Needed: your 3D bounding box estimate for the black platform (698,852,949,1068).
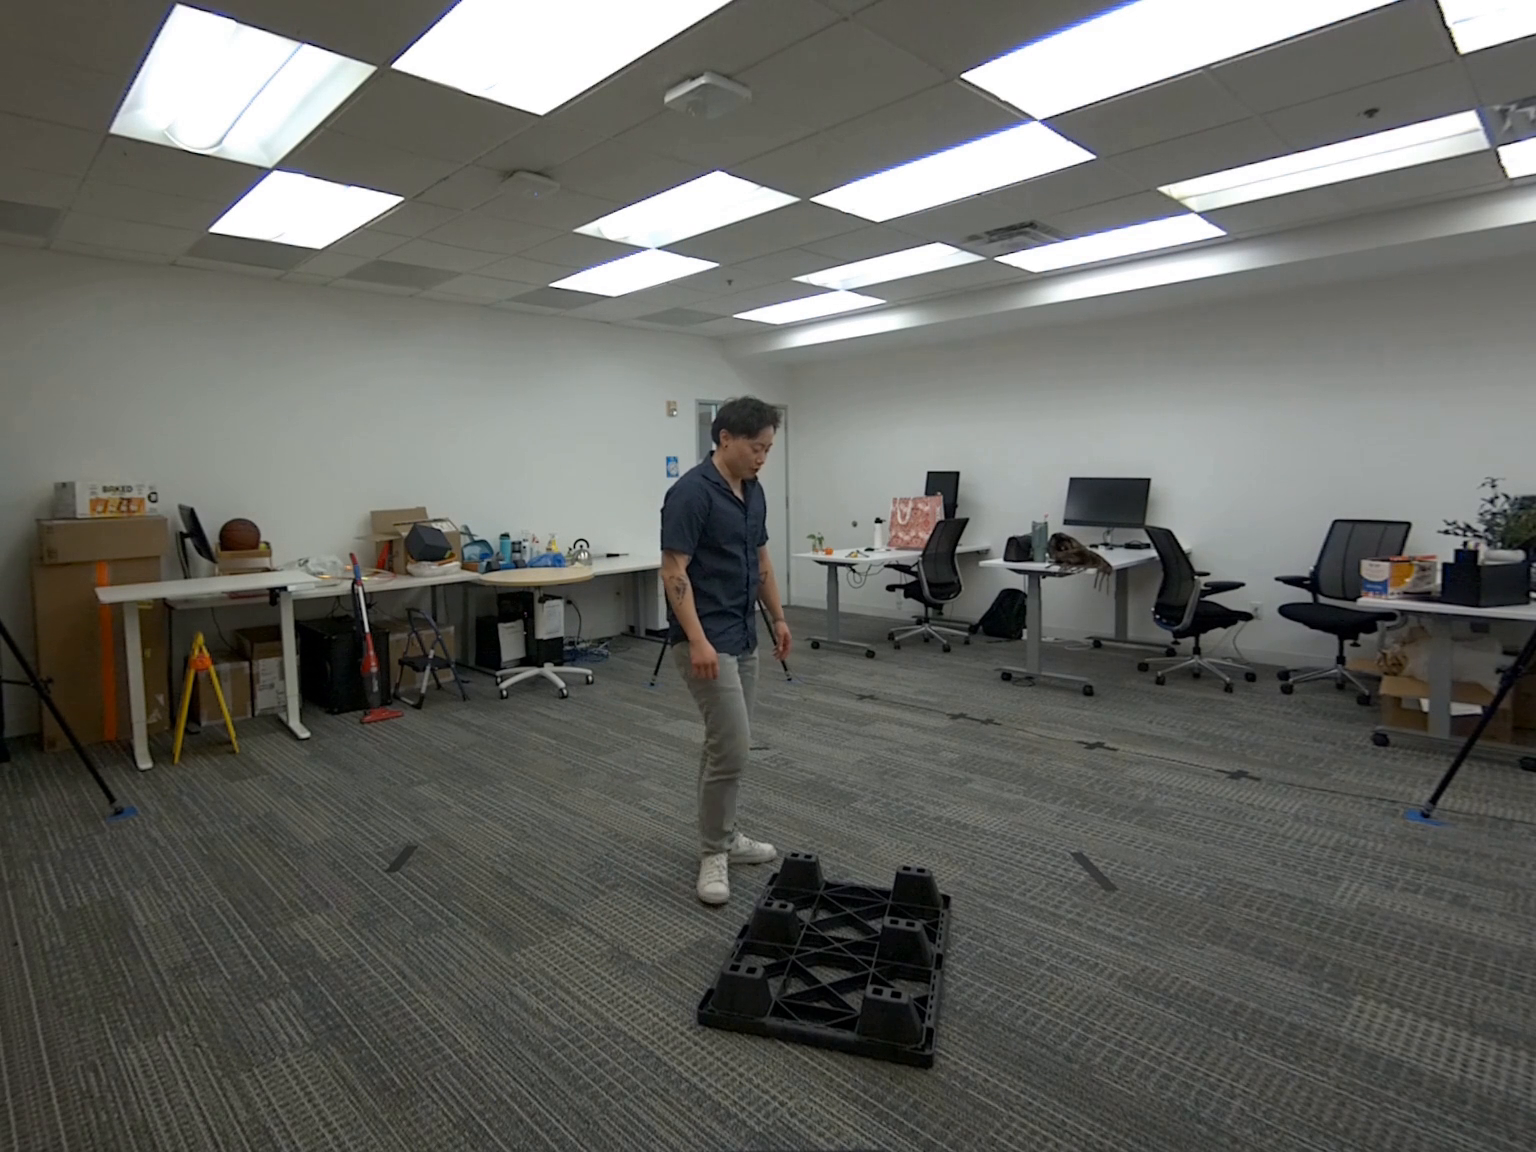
[{"bbox_3d":[0.214,1.050,2.469,0.615,0.142,0.797,0,7,16],"label":"black platform"}]
